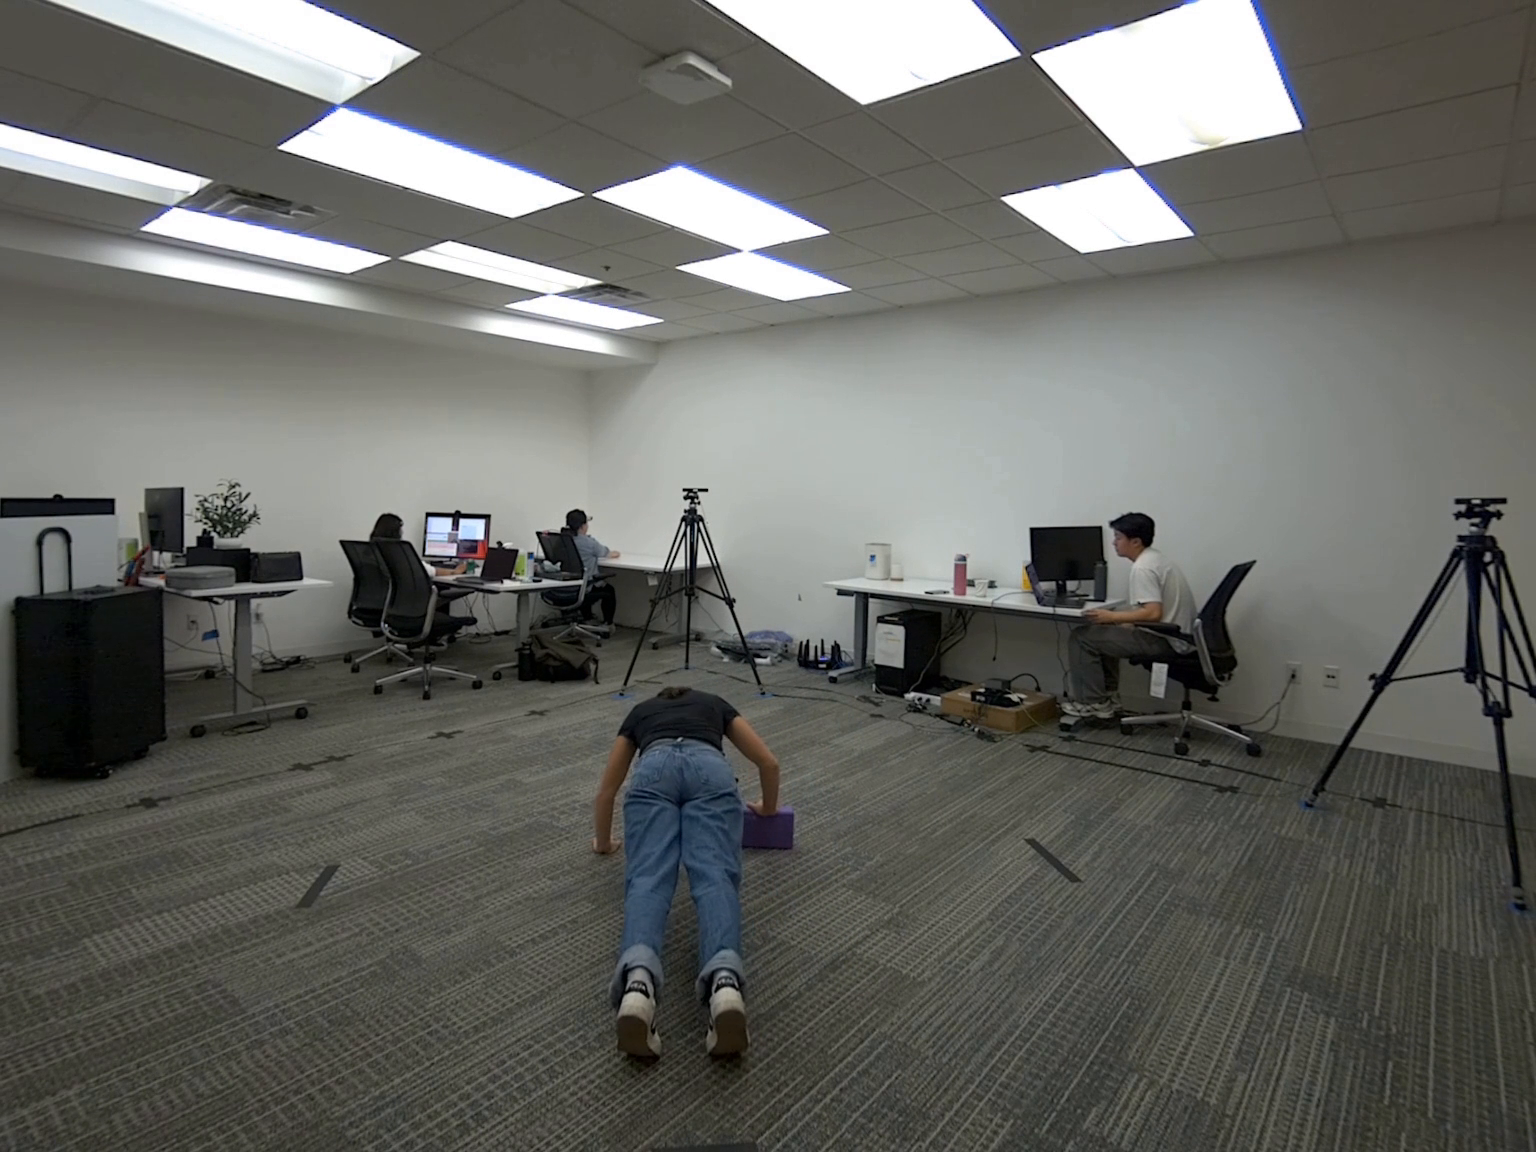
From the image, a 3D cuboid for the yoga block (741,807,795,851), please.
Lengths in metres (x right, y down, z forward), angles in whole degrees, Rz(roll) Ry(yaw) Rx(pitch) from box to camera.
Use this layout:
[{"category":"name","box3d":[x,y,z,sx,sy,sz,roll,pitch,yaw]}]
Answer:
[{"category":"yoga block","box3d":[-0.012,0.971,3.333,0.229,0.148,0.077,-2,5,0]}]
